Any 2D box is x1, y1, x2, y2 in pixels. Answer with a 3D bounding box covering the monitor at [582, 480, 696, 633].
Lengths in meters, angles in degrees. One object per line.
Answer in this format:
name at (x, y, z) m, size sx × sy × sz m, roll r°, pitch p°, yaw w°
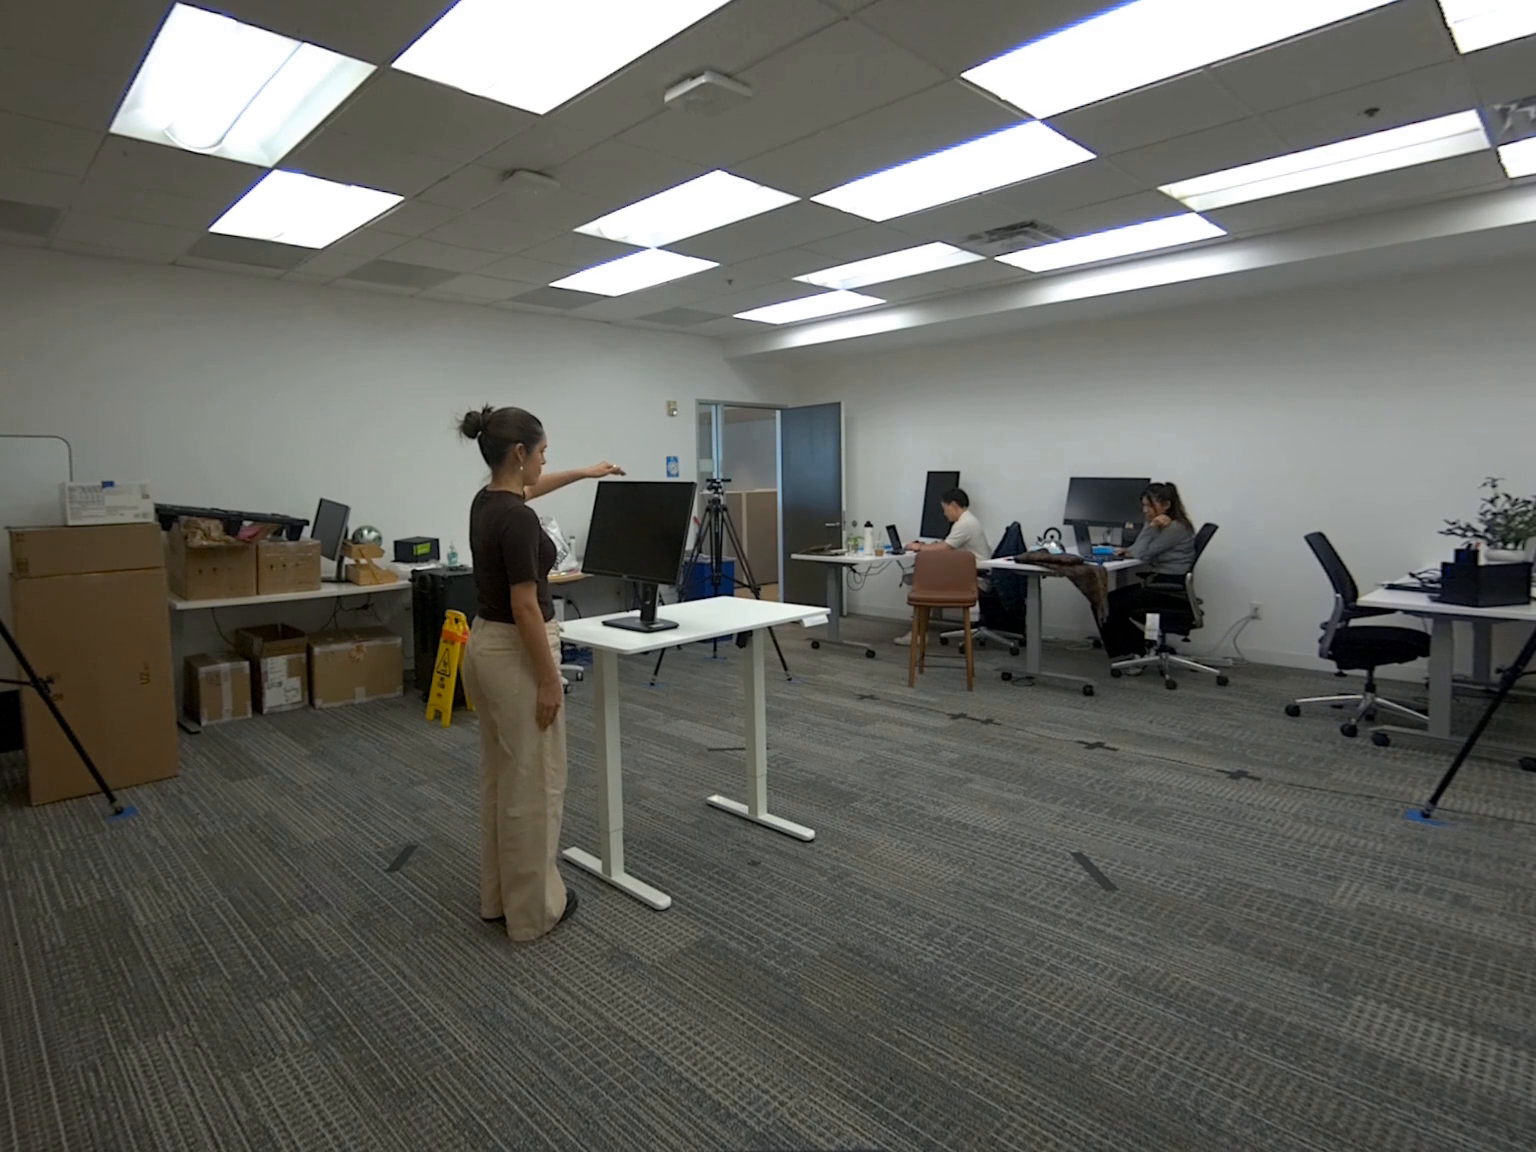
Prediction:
monitor at (-0.447, -0.073, 3.032) m, size 0.556 × 0.521 × 0.182 m, roll 5°, pitch 4°, yaw 43°
